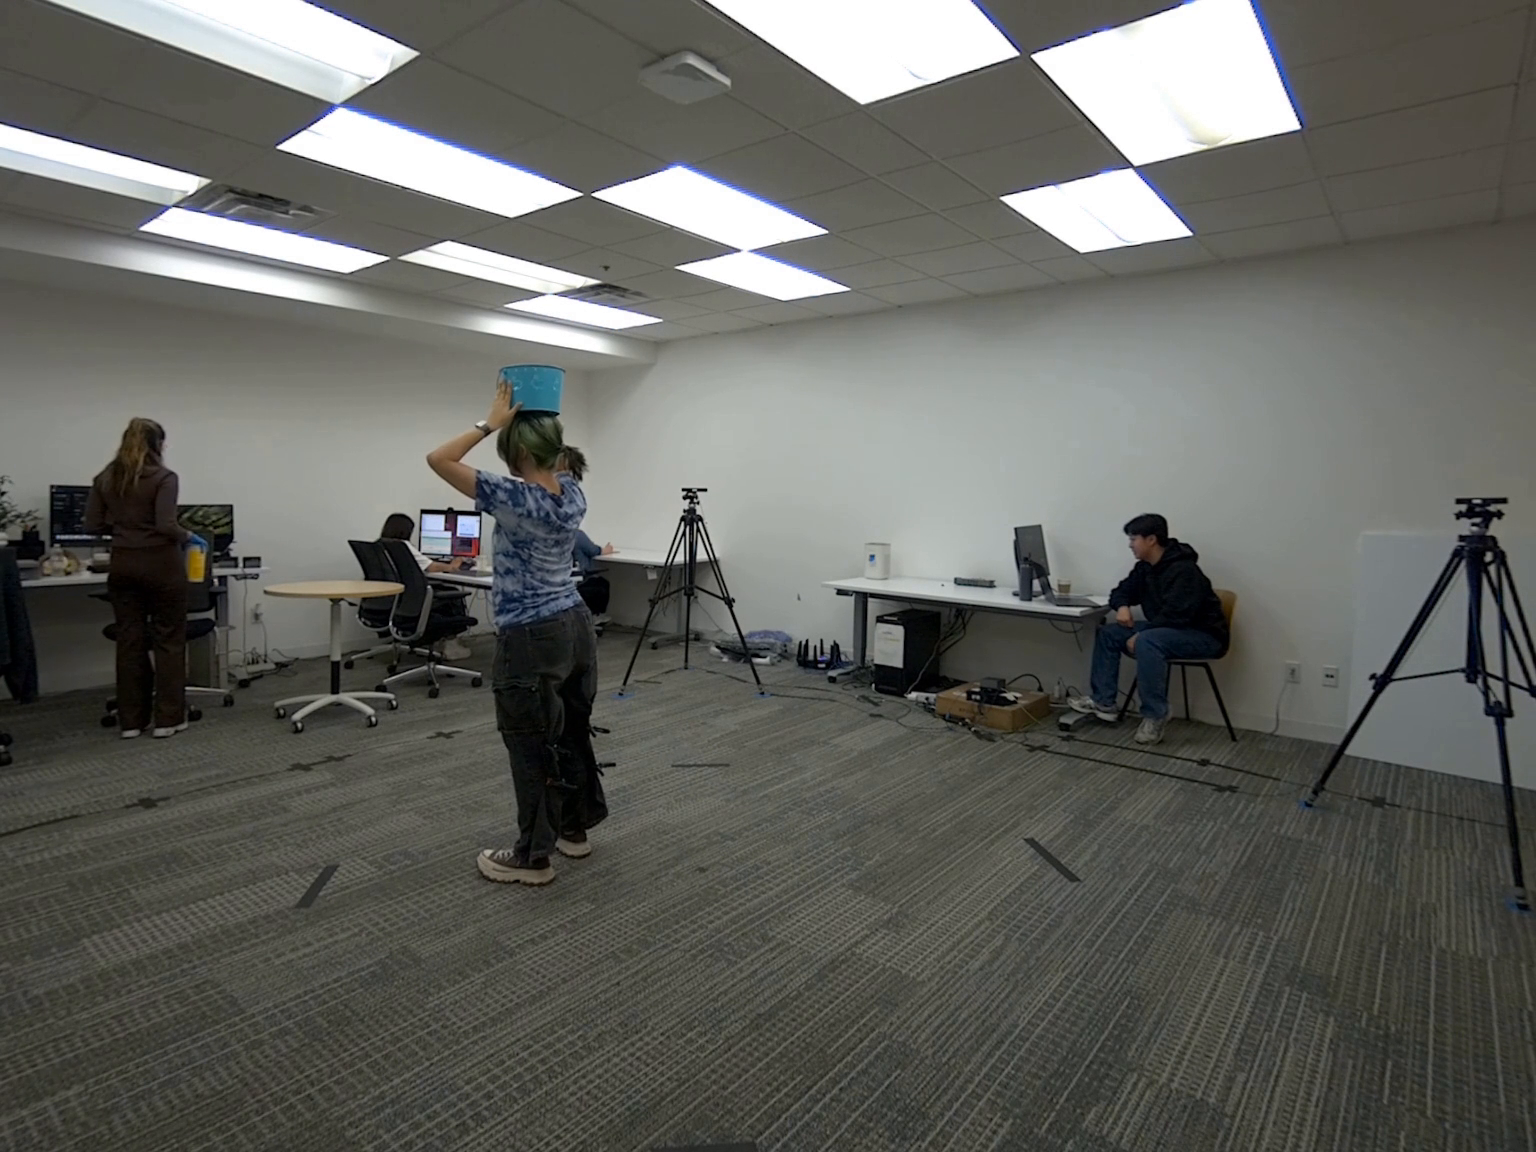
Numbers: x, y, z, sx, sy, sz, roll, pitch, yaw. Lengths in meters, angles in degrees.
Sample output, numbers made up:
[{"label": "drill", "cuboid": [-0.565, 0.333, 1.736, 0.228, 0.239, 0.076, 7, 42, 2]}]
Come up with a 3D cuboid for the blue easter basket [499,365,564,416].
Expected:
[{"label": "blue easter basket", "cuboid": [-0.852, -0.654, 3.002, 0.243, 0.156, 0.243, -3, -1, -2]}]
